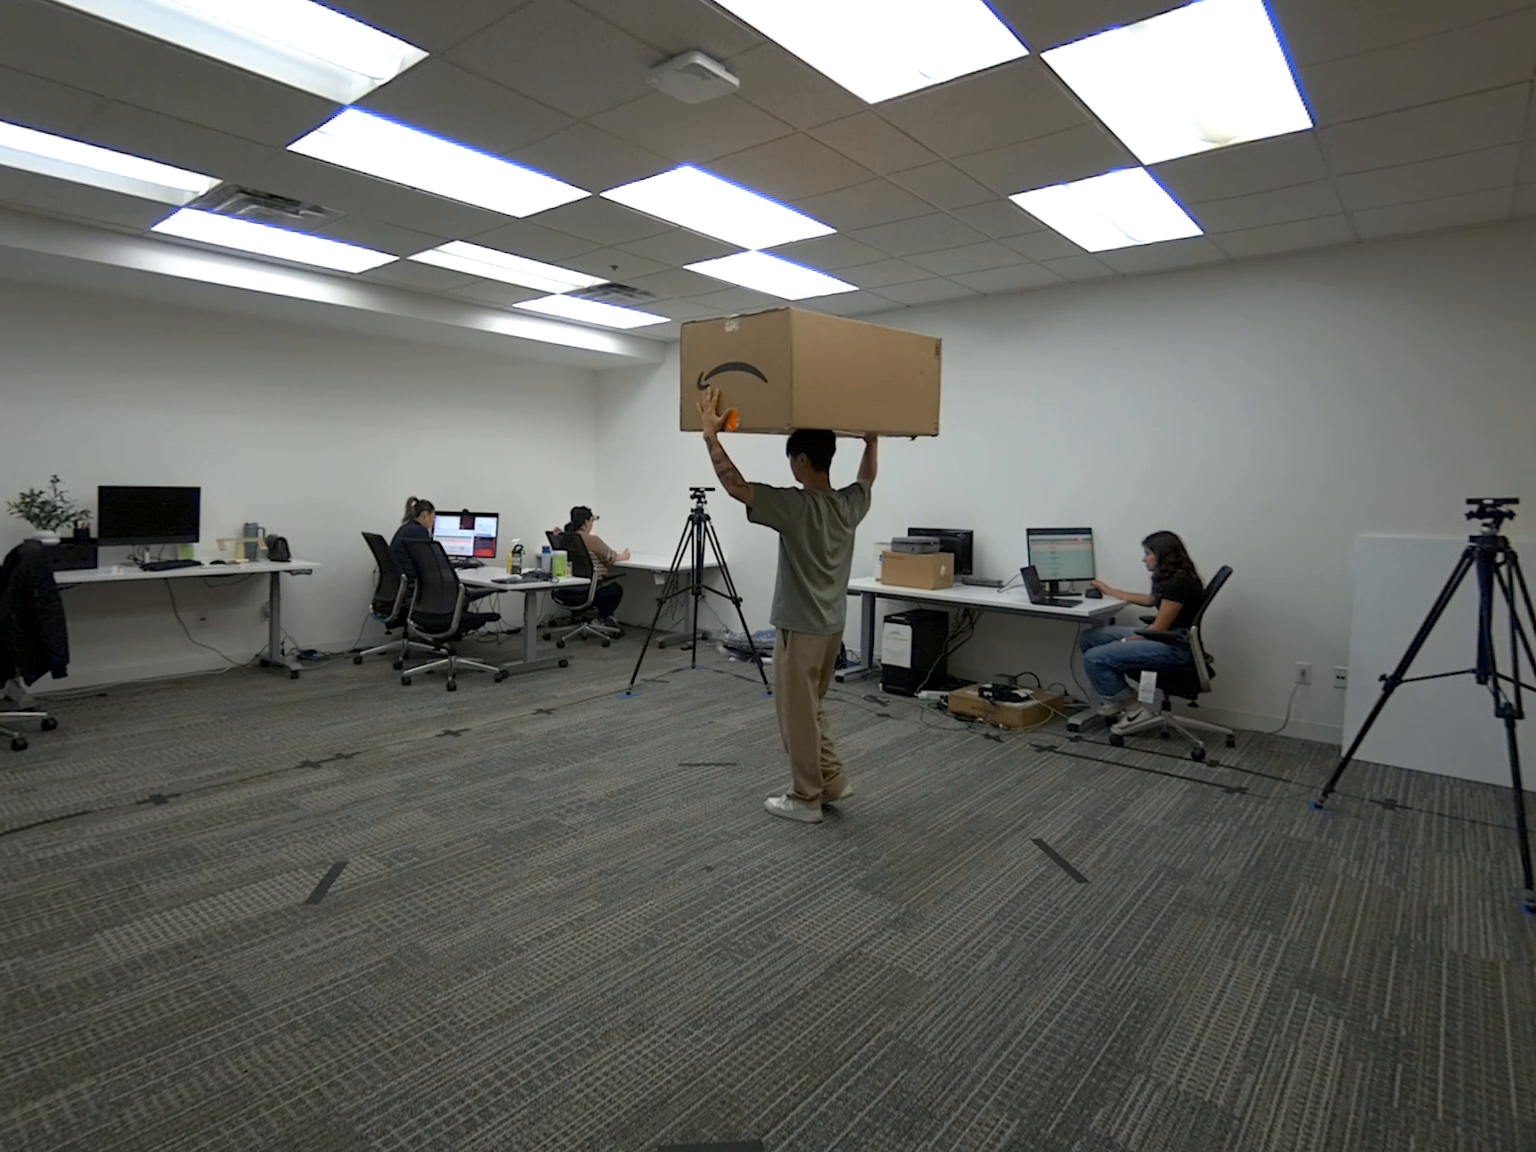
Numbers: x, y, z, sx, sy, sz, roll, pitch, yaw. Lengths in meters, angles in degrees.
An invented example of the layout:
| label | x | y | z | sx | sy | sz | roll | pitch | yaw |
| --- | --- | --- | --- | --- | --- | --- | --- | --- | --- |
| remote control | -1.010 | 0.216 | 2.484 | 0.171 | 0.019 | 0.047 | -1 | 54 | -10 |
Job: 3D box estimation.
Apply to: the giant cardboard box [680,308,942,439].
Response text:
| label | x | y | z | sx | sy | sz | roll | pitch | yaw |
| --- | --- | --- | --- | --- | --- | --- | --- | --- | --- |
| giant cardboard box | 0.192 | -0.801 | 3.534 | 0.598 | 0.423 | 0.997 | 7 | 10 | 43 |
